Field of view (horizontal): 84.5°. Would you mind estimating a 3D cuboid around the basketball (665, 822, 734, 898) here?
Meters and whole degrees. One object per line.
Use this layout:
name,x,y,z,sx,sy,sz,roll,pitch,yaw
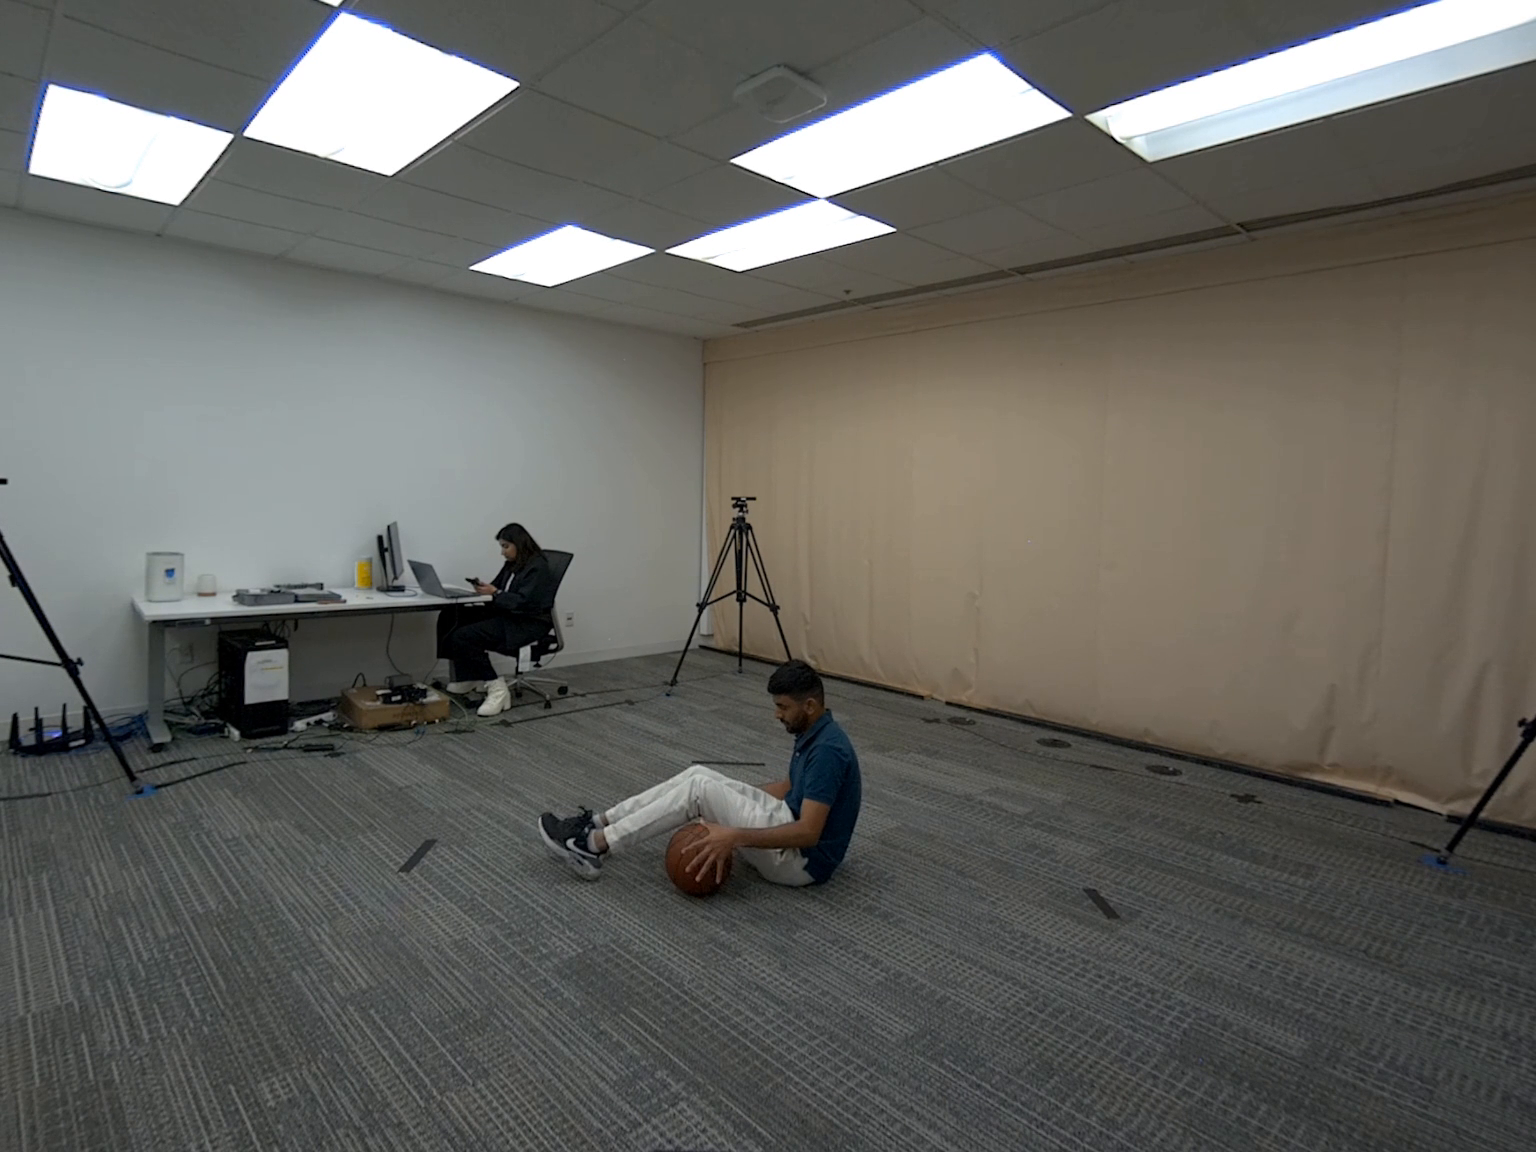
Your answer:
basketball,-0.253,0.971,2.933,0.236,0.235,0.237,1,4,-1
